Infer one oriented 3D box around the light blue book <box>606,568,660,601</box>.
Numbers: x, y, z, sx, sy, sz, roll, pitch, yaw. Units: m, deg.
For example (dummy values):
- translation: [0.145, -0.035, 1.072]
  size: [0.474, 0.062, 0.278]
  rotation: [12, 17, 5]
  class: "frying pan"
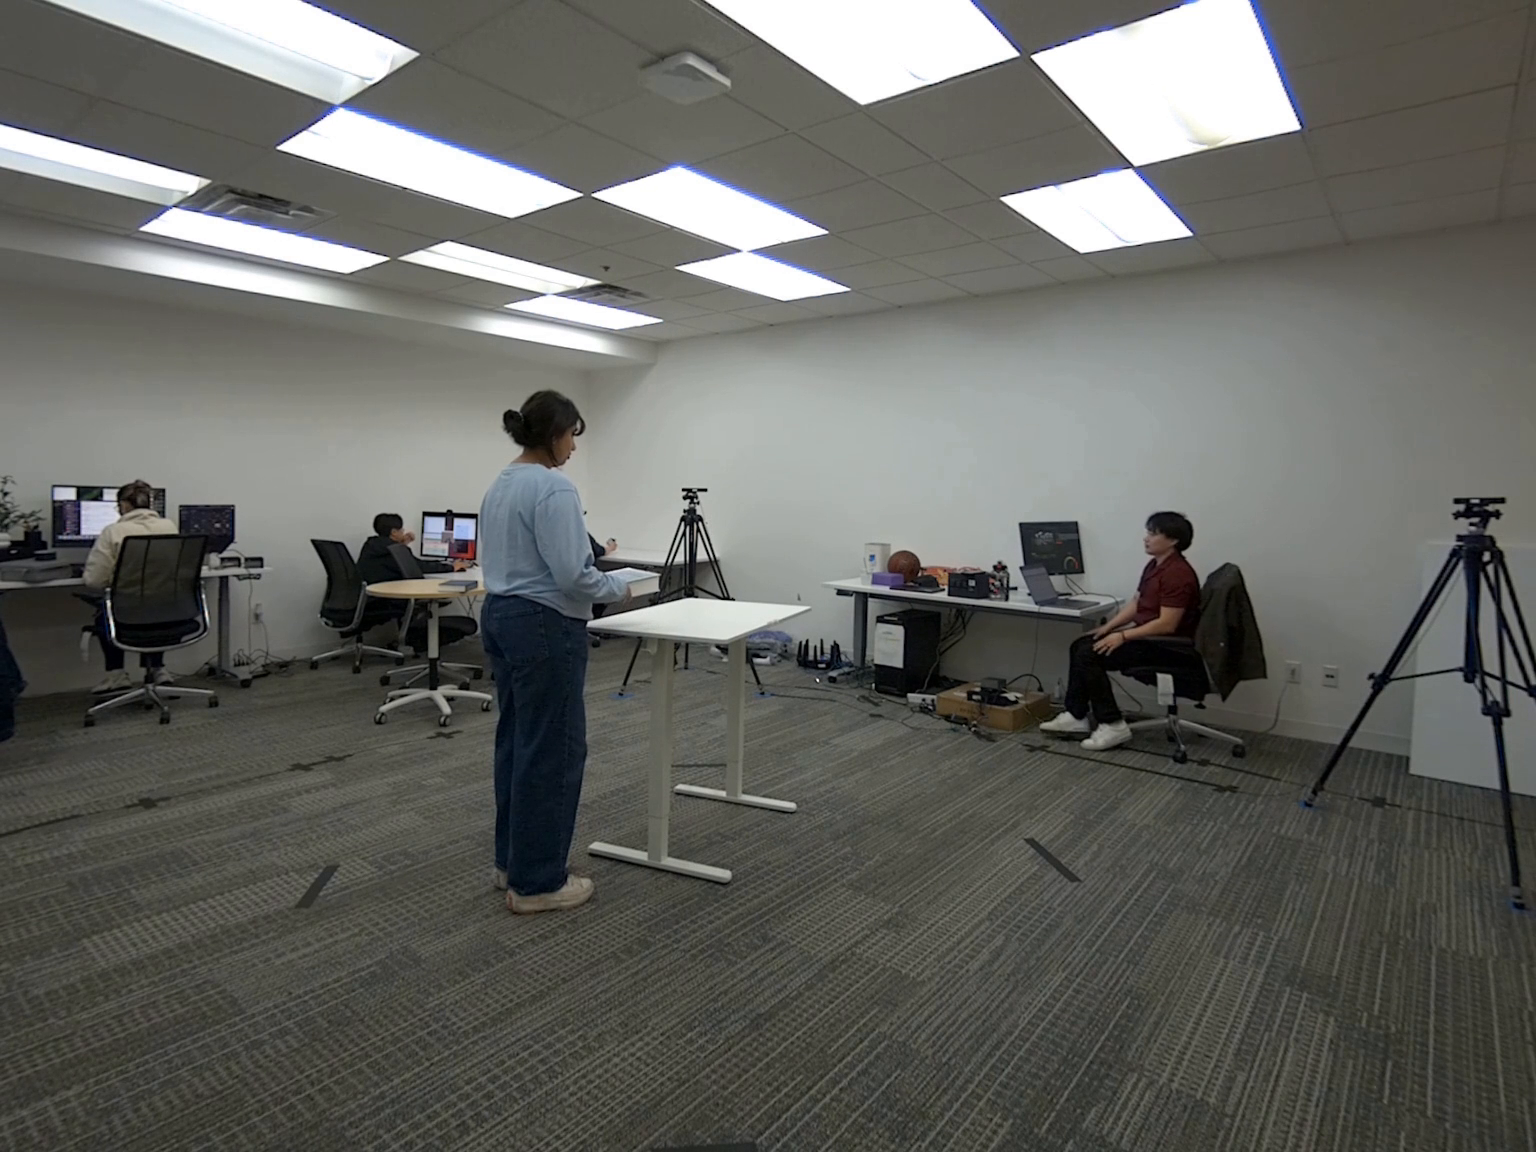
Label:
- translation: [-0.548, 0.033, 3.085]
  size: [0.198, 0.058, 0.254]
  rotation: [11, 16, 38]
  class: "light blue book"
